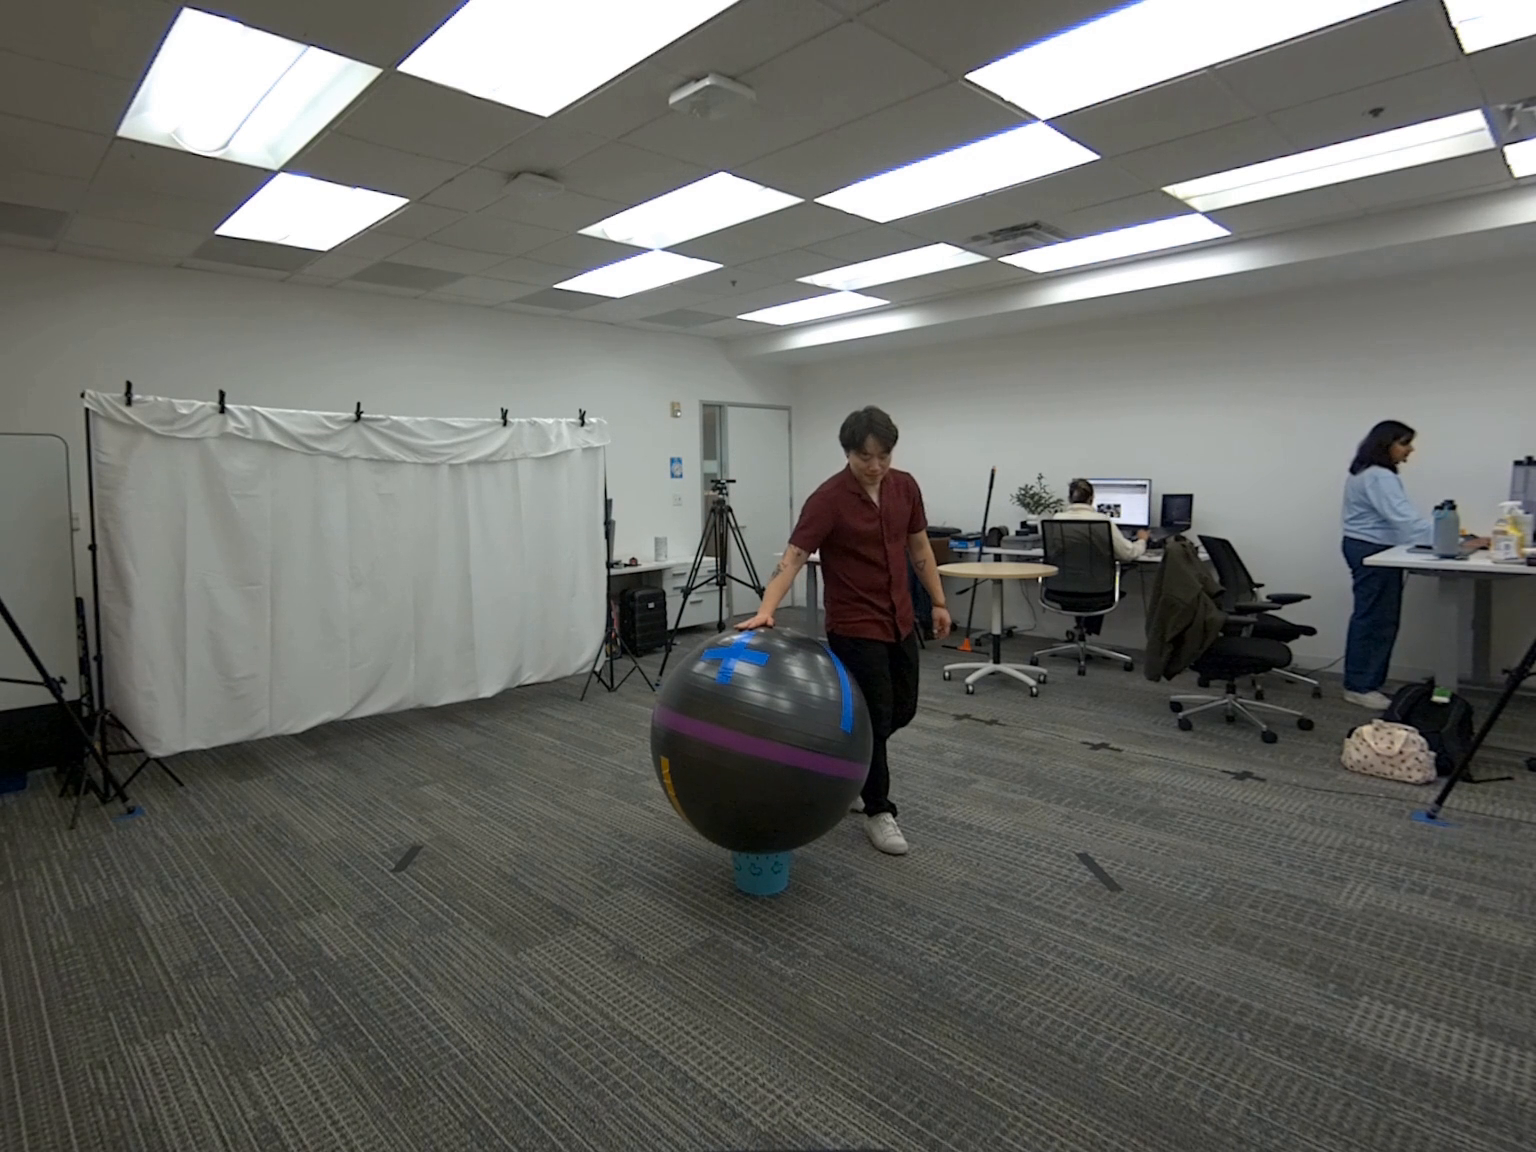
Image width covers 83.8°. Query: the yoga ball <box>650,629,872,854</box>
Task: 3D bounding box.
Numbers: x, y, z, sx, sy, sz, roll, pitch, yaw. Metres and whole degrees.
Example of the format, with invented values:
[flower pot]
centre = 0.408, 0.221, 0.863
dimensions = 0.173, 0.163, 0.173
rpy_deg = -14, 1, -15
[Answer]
[yoga ball]
centre = -0.024, 0.556, 2.947
dimensions = 0.757, 0.755, 0.762
rpy_deg = -1, 5, -2
